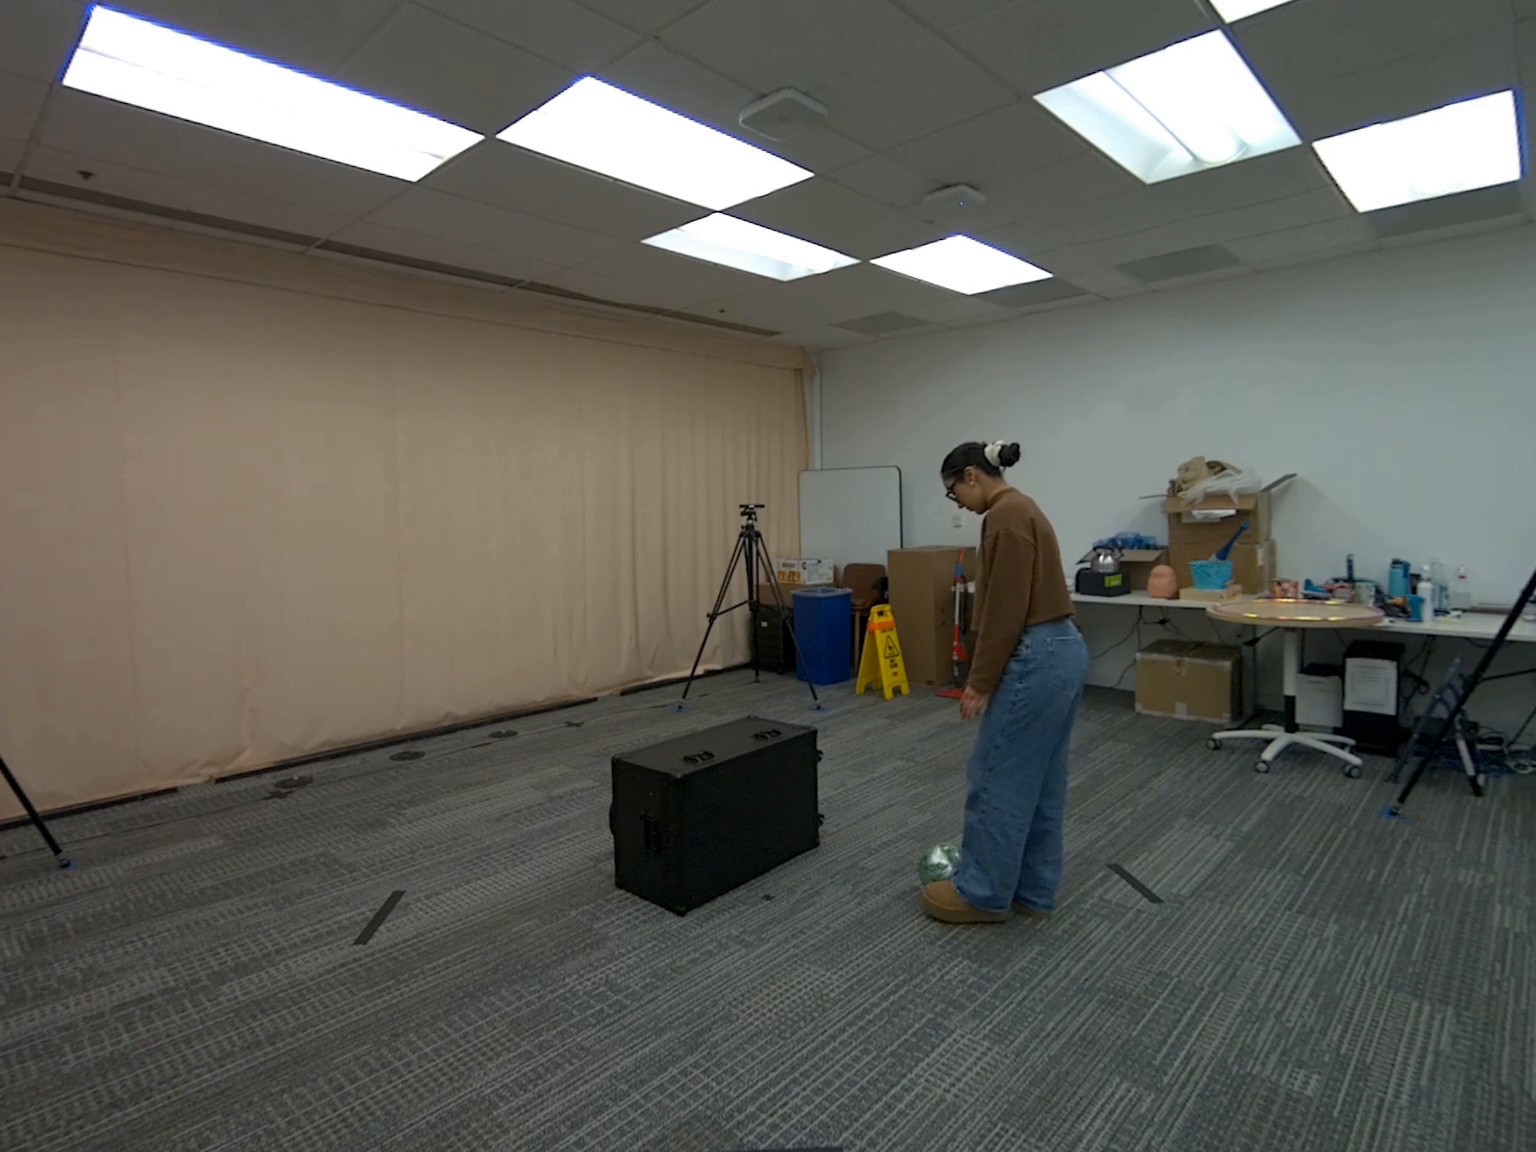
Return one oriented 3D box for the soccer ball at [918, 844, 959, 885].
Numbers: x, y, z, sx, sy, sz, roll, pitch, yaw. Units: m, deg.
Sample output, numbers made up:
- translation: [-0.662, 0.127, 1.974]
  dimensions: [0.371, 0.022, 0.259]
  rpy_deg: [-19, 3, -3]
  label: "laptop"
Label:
- translation: [0.624, 1.041, 2.959]
  dimensions: [0.187, 0.187, 0.188]
  rpy_deg: [-1, 4, -2]
  label: "soccer ball"
